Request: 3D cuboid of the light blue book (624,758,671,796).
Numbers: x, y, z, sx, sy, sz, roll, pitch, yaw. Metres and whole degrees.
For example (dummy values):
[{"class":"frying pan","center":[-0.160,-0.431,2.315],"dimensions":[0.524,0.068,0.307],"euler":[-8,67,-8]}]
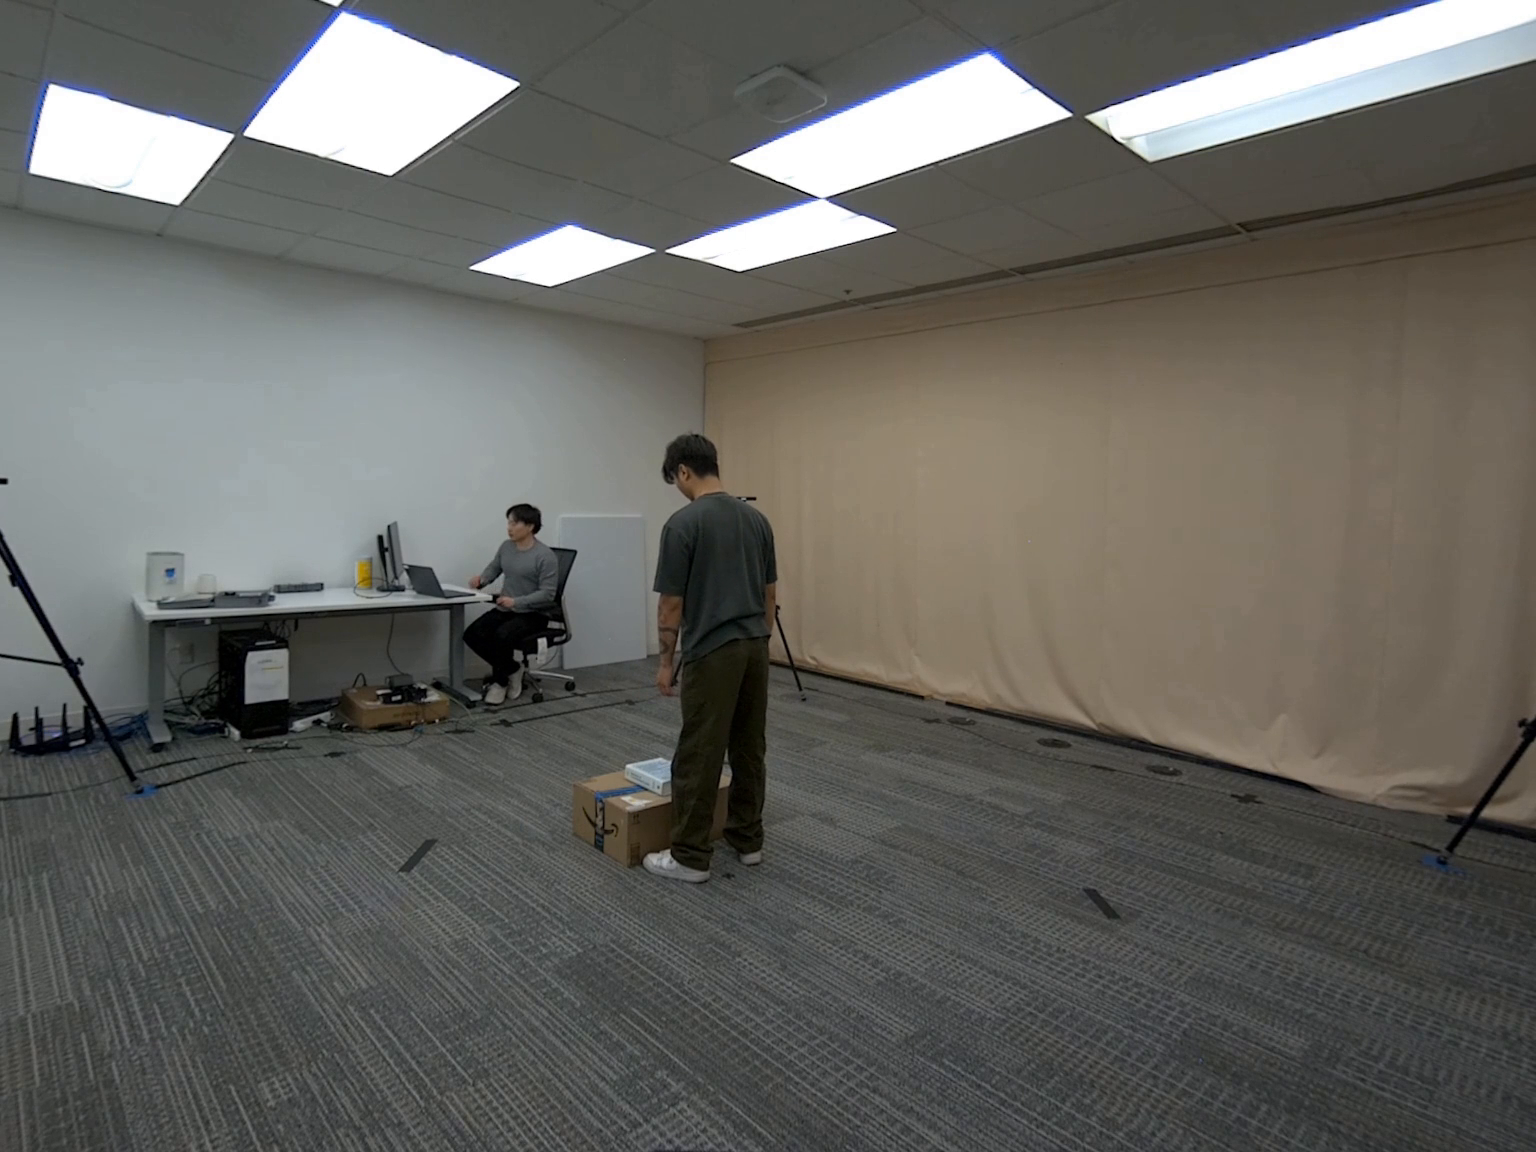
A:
[{"class":"light blue book","center":[-0.447,0.827,3.488],"dimensions":[0.187,0.059,0.268],"euler":[-2,6,-43]}]
